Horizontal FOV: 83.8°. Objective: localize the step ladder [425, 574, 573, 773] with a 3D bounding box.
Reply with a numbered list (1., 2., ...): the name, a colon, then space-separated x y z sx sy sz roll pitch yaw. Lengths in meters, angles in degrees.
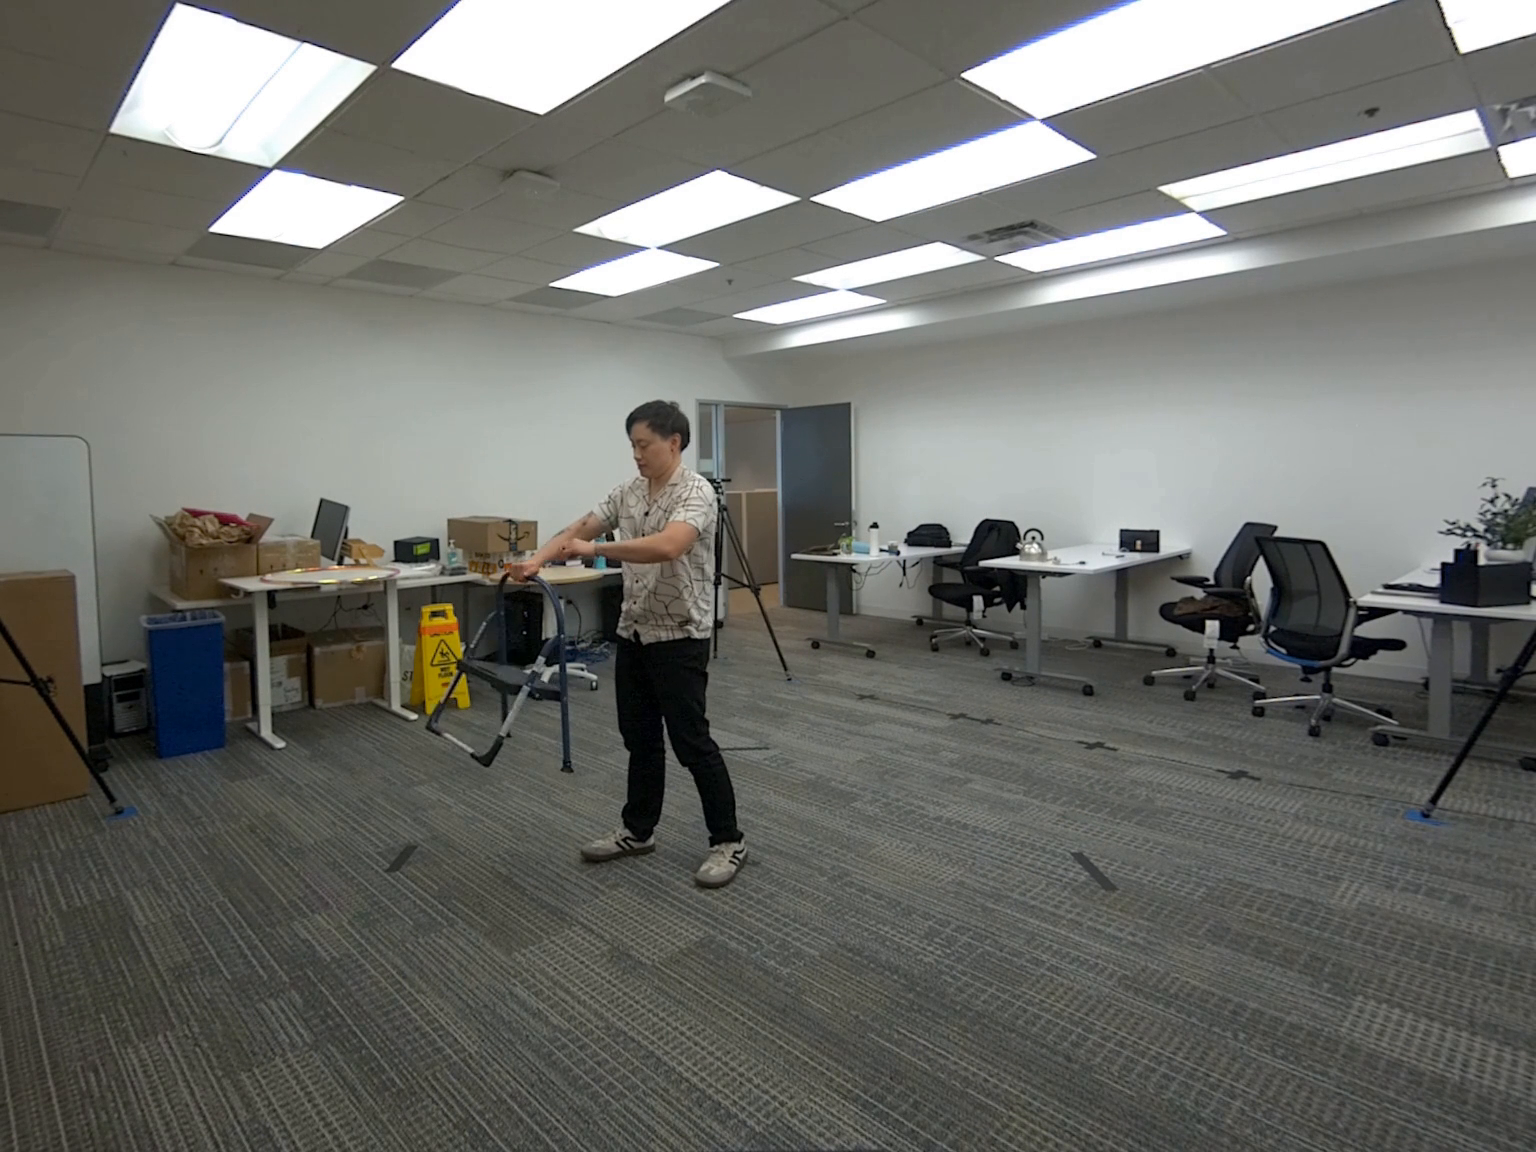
1. step ladder: -0.835 0.309 2.915 0.445 0.608 0.337 11 -5 42
